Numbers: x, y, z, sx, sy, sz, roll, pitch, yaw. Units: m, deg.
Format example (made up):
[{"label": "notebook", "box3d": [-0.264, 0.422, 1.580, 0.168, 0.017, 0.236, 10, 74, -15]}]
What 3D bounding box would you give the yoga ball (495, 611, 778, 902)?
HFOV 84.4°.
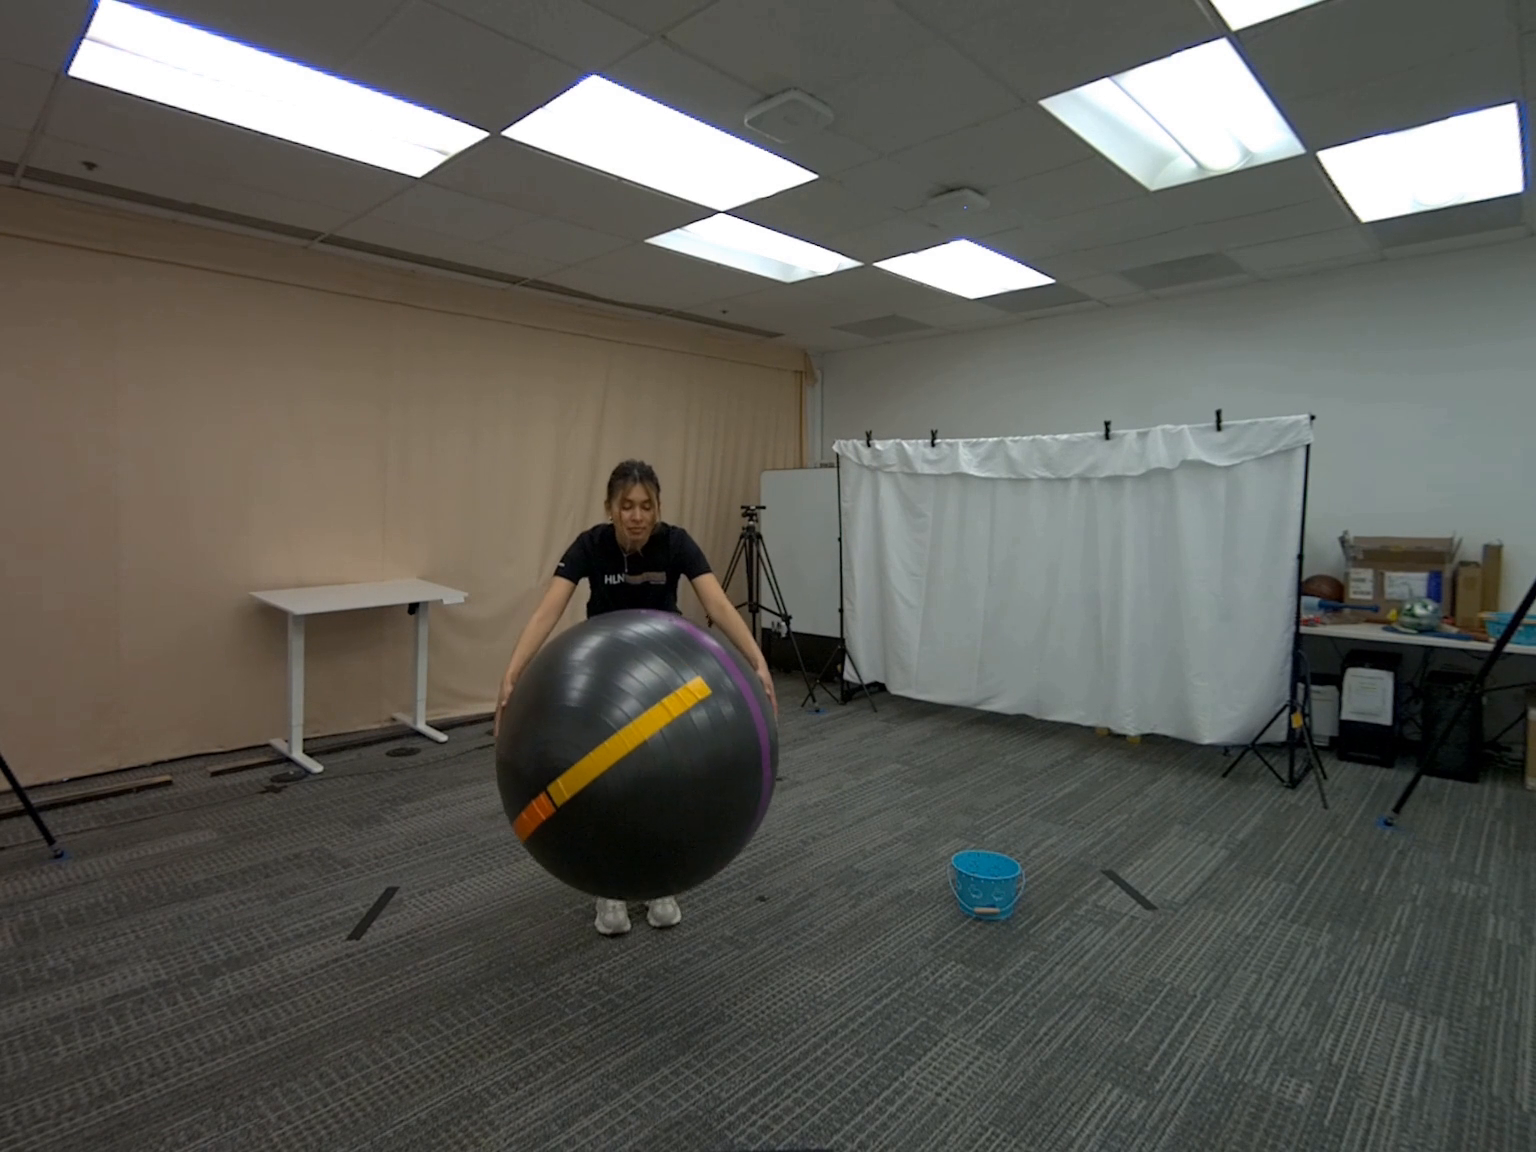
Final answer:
[{"label": "yoga ball", "box3d": [-0.348, 0.483, 2.268, 0.757, 0.756, 0.761, 0, 4, -2]}]
